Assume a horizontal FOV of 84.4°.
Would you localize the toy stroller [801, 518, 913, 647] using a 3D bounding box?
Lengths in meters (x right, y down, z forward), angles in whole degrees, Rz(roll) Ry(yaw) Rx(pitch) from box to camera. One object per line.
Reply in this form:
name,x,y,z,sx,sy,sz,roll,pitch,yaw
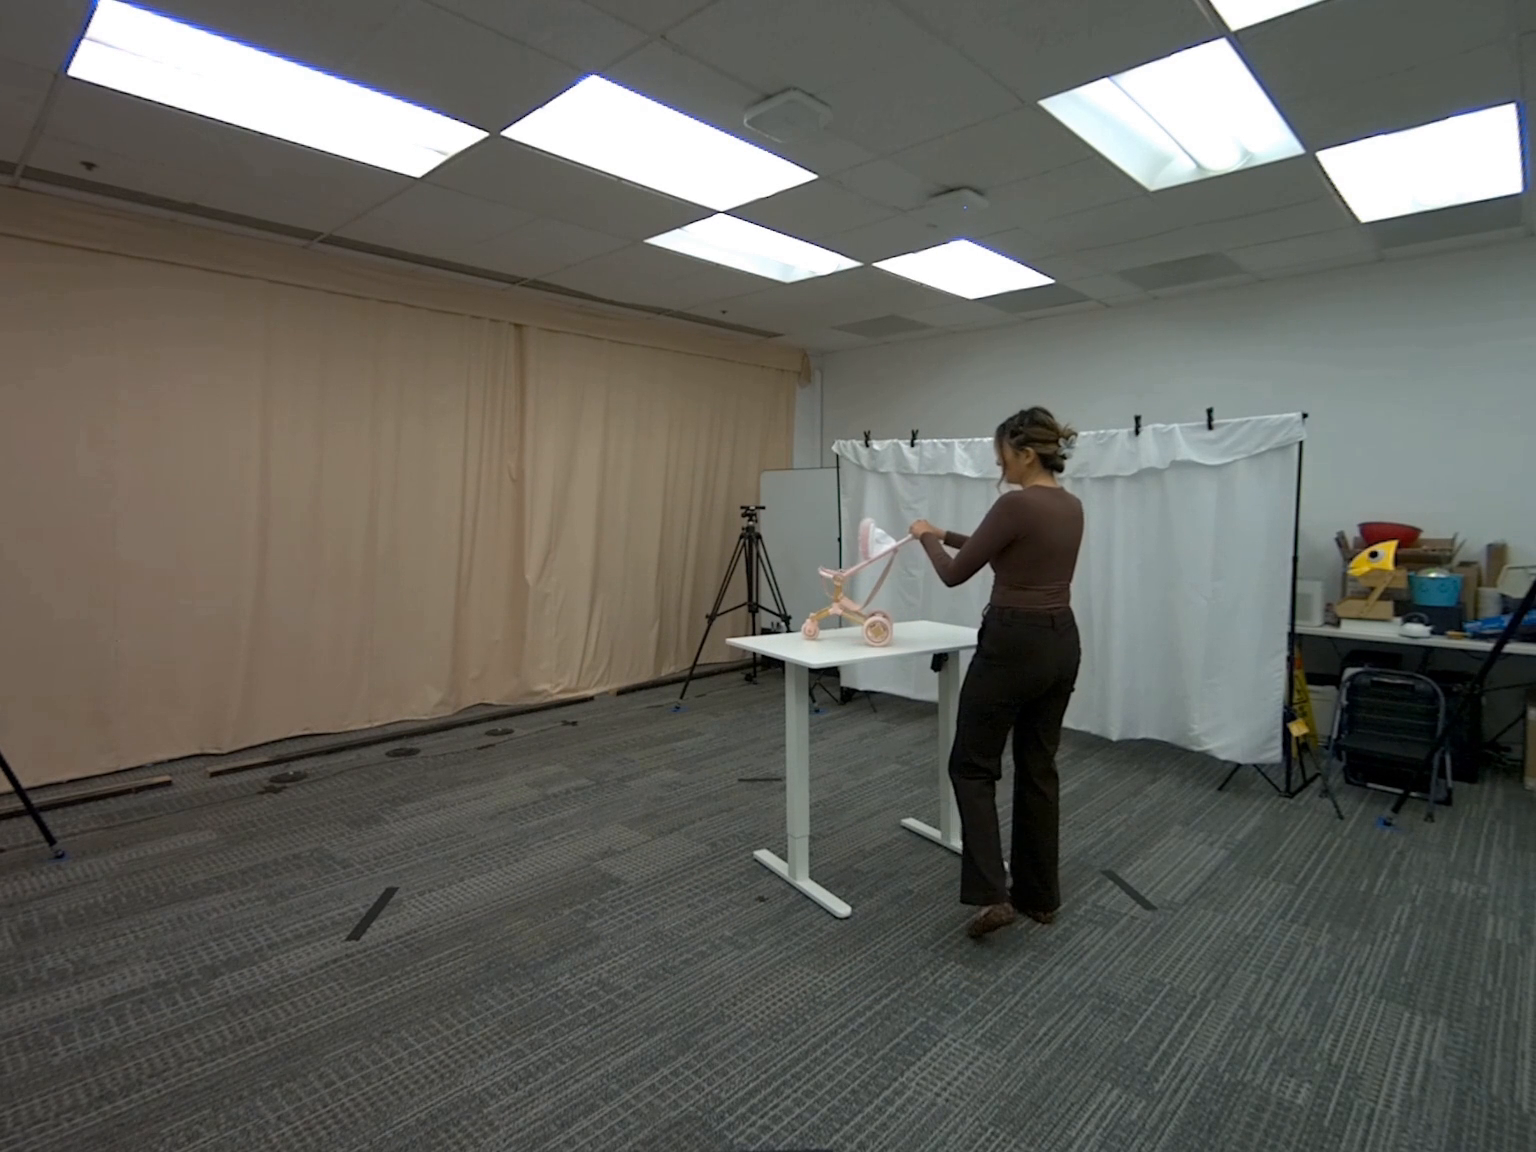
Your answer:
toy stroller,0.354,0.024,3.169,0.347,0.534,0.277,16,6,14
